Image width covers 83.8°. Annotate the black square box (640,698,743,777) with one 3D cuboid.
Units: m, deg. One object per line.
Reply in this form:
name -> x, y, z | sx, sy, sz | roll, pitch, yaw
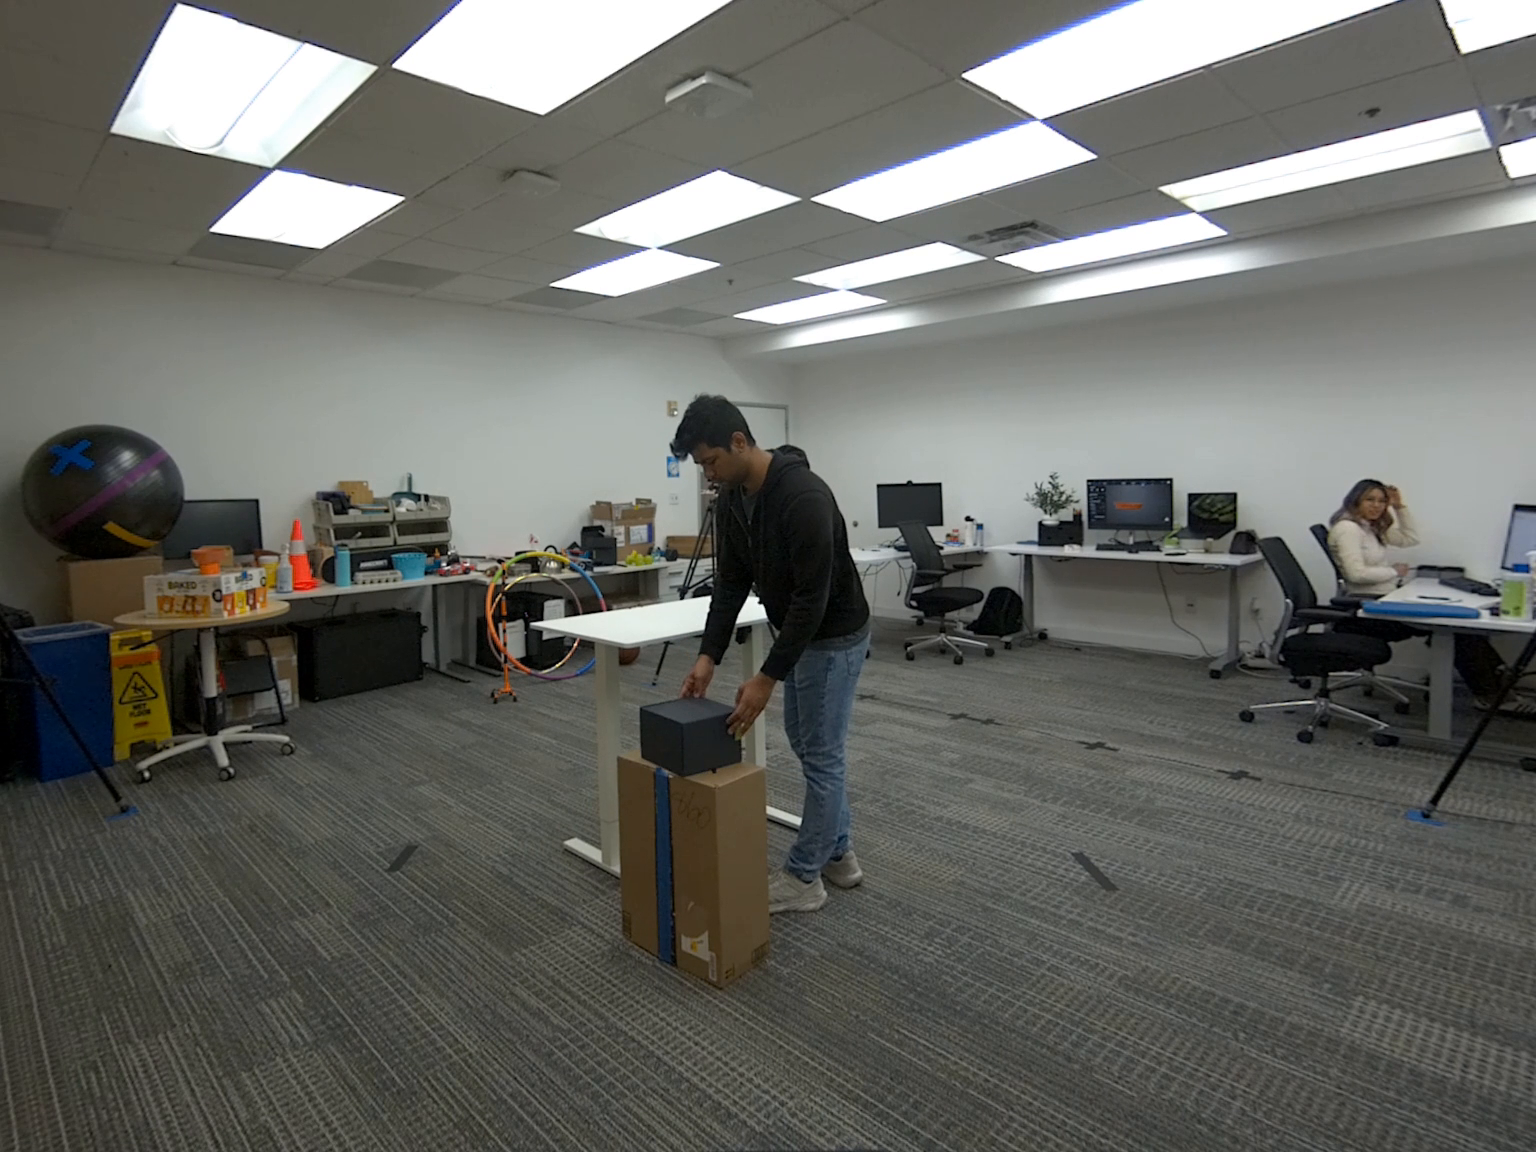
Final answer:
black square box -> -0.227, 0.464, 2.538 | 0.211, 0.155, 0.235 | -5, 7, -39
